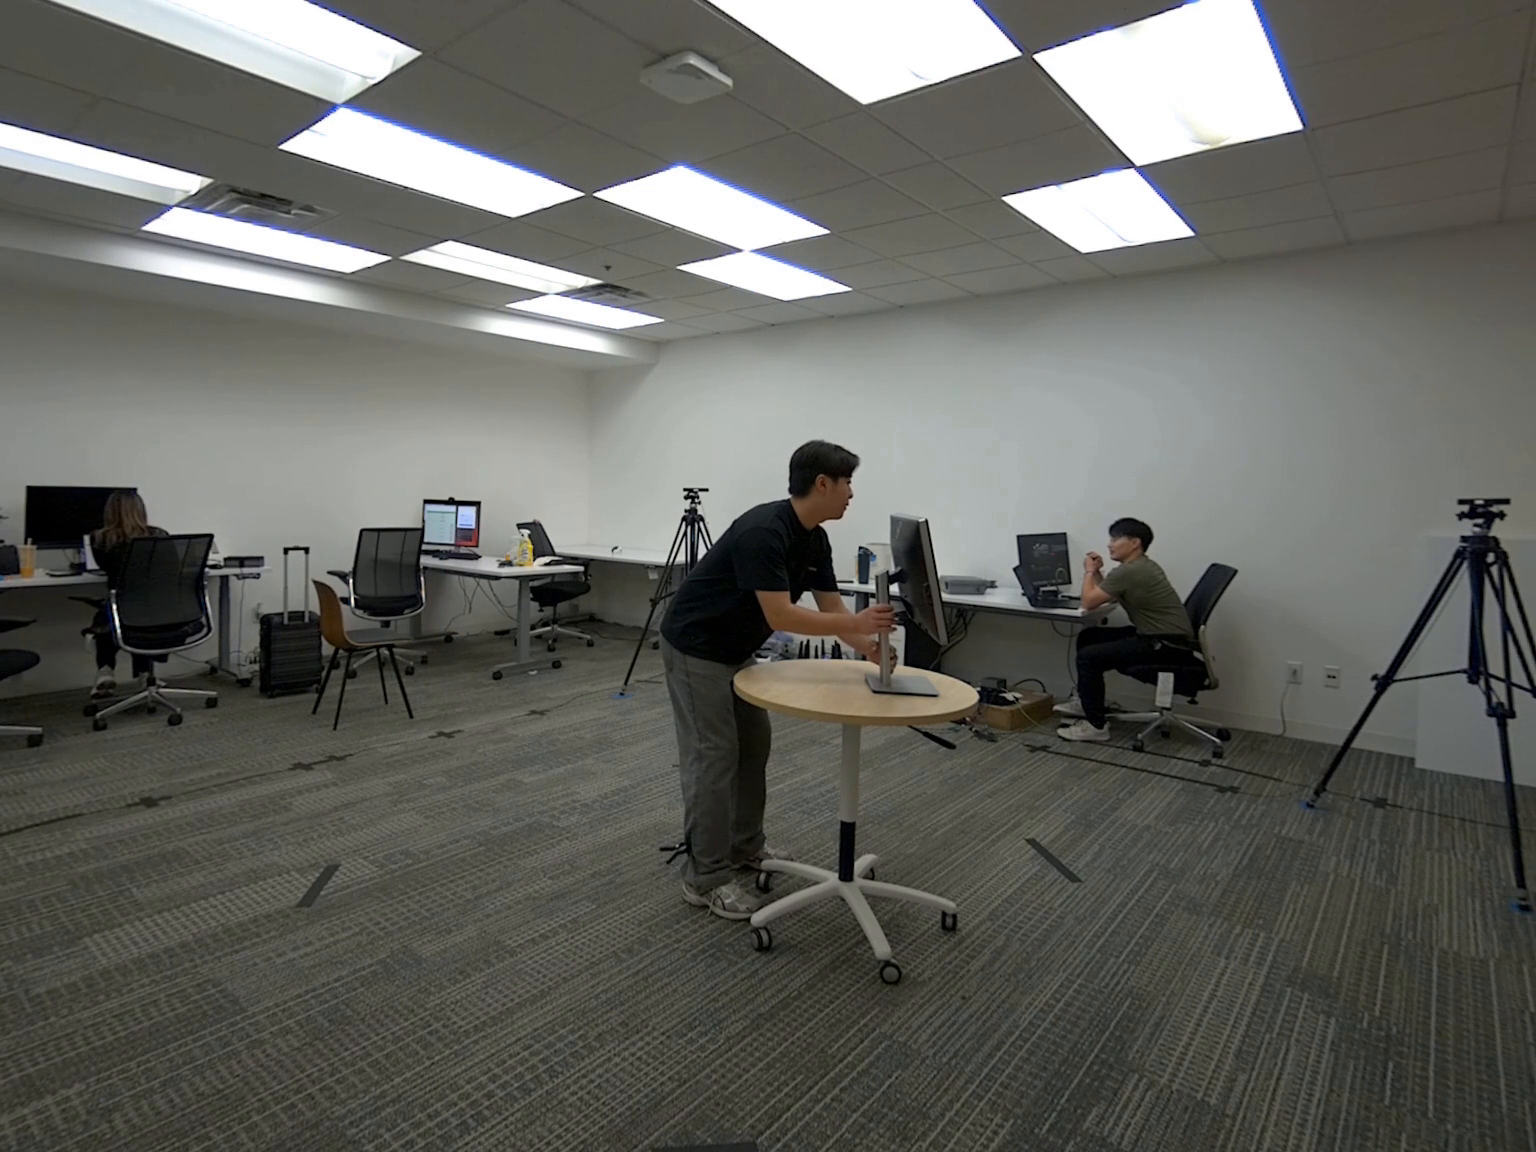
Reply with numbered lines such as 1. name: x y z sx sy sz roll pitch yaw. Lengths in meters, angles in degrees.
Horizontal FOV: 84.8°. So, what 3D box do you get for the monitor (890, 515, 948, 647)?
1. monitor: 0.437 0.090 2.690 0.223 0.564 0.561 4 5 2
